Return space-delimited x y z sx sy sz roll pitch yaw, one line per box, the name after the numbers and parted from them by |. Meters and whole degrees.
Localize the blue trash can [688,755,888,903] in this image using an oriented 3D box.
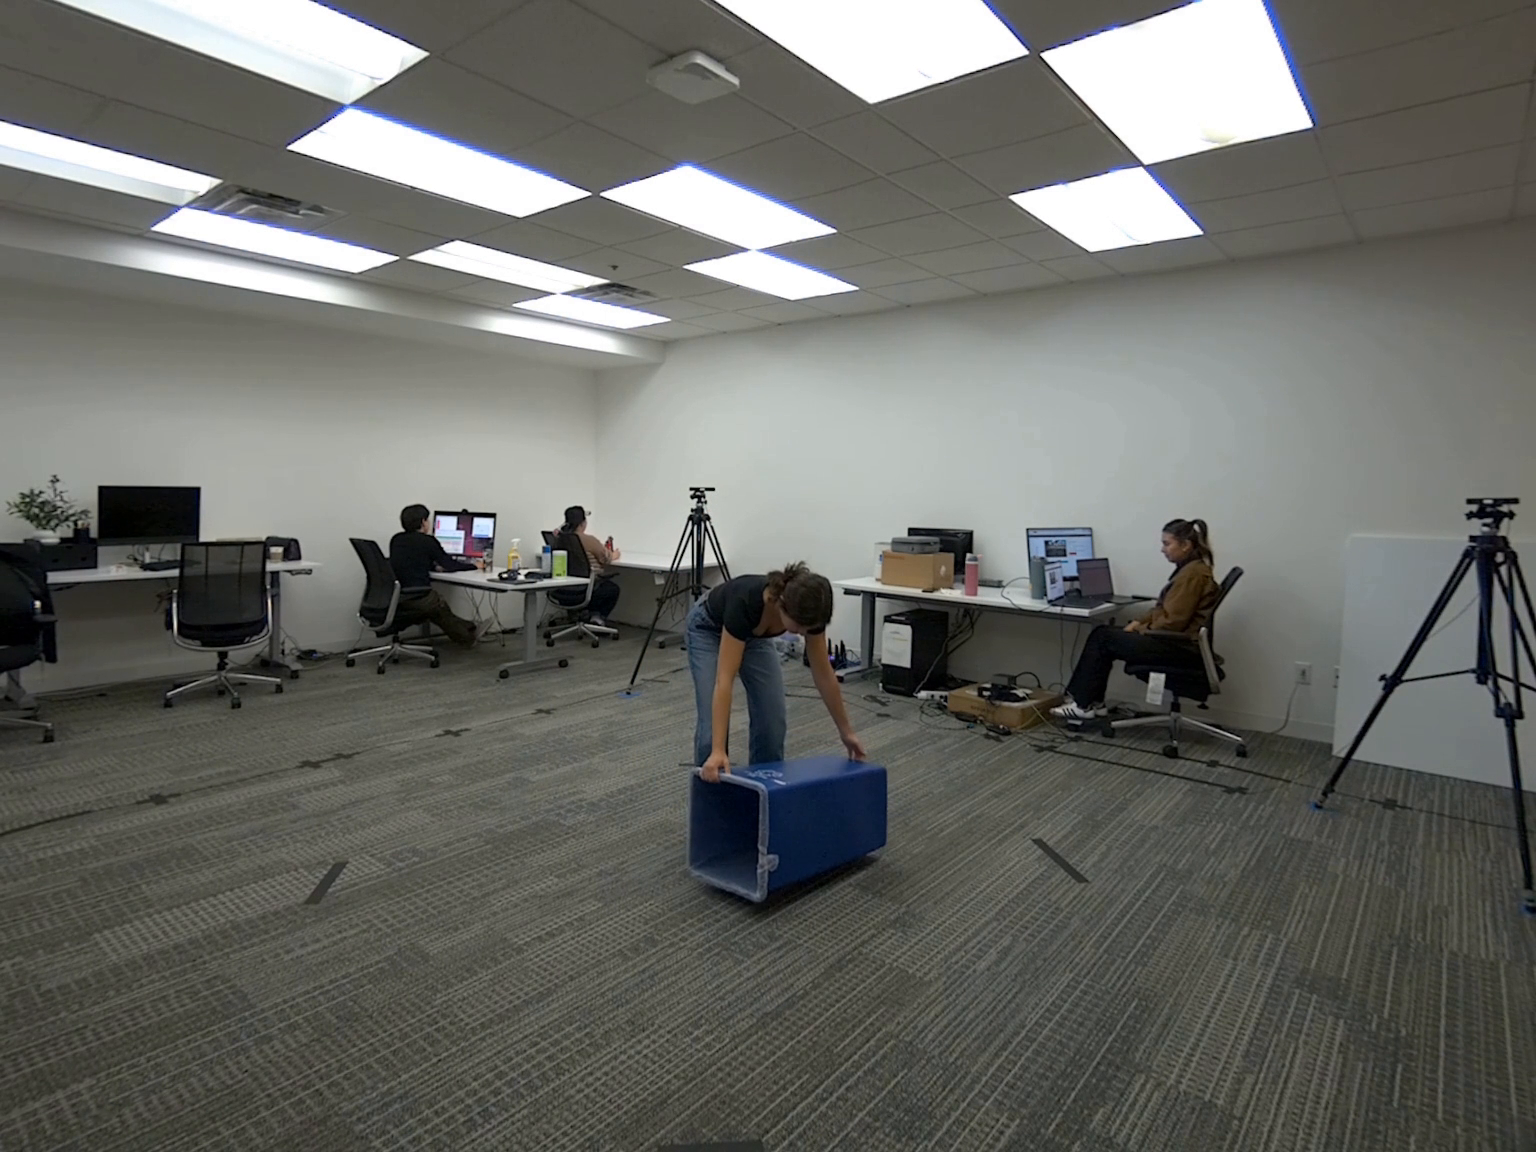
0.092 0.870 3.085 0.690 0.375 0.390 3 -4 -44 | blue trash can
